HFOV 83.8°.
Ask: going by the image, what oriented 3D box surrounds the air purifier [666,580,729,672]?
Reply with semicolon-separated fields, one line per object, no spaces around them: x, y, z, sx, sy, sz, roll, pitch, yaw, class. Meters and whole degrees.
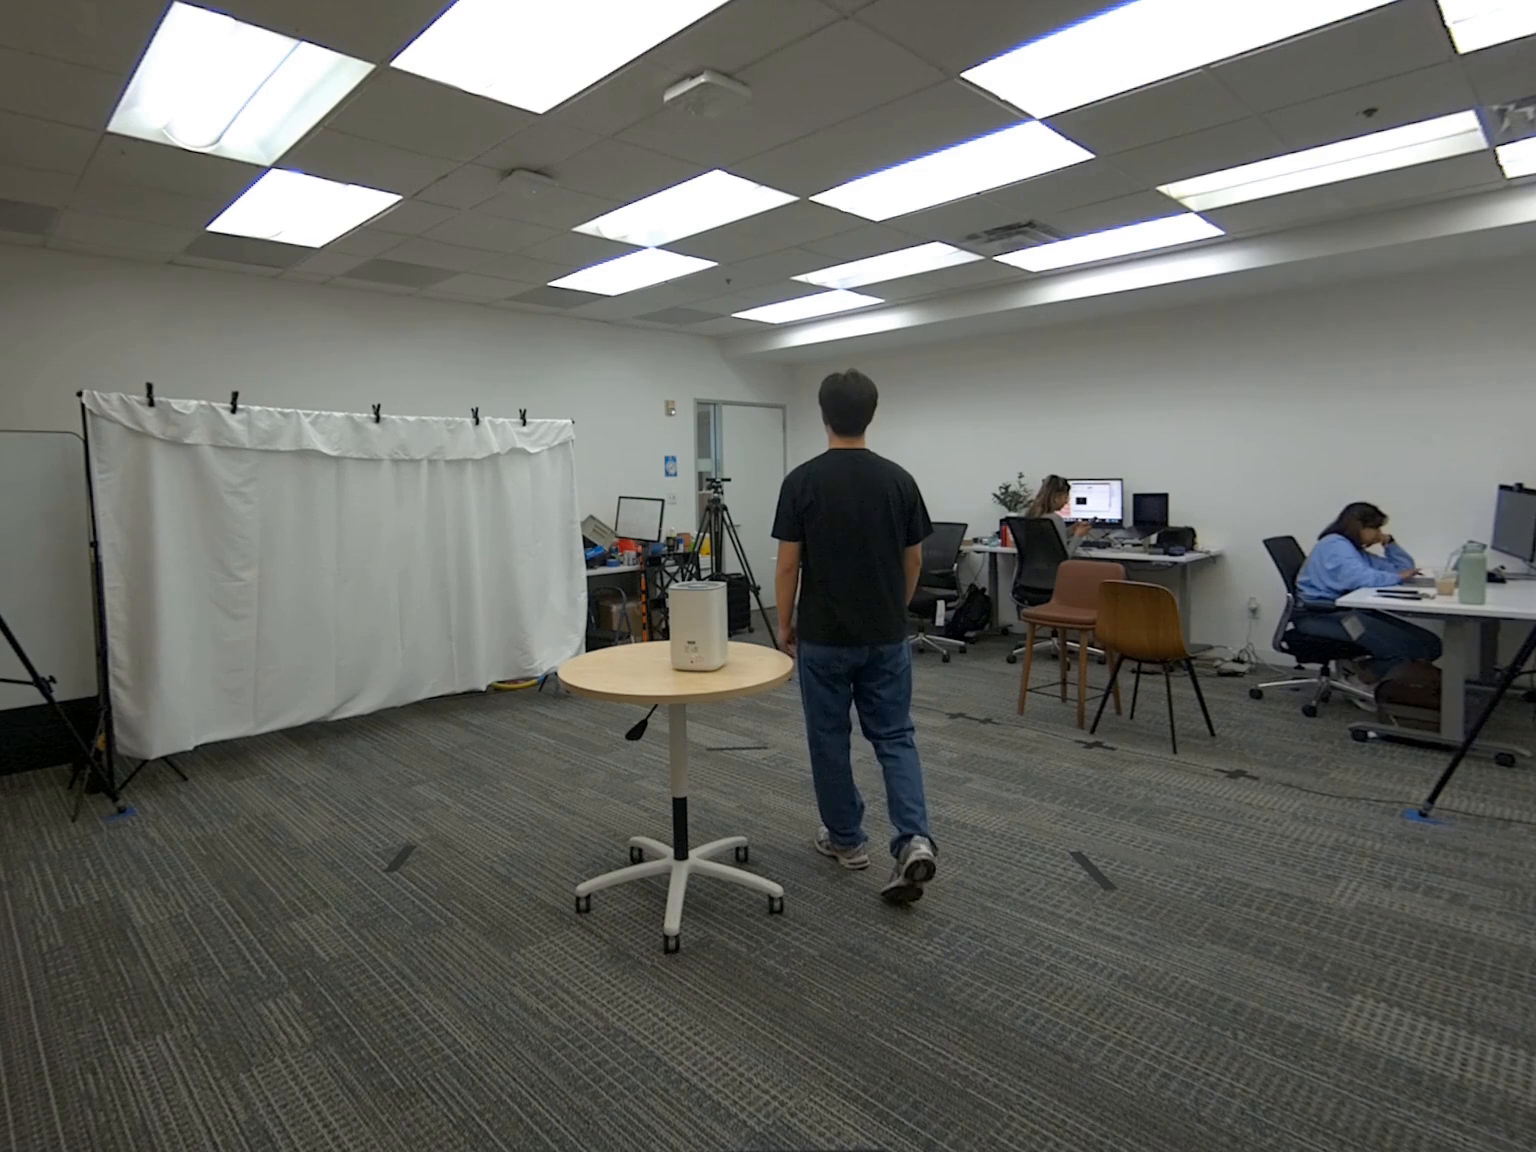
-0.217;0.163;2.736;0.173;0.264;0.170;0;4;12;air purifier
